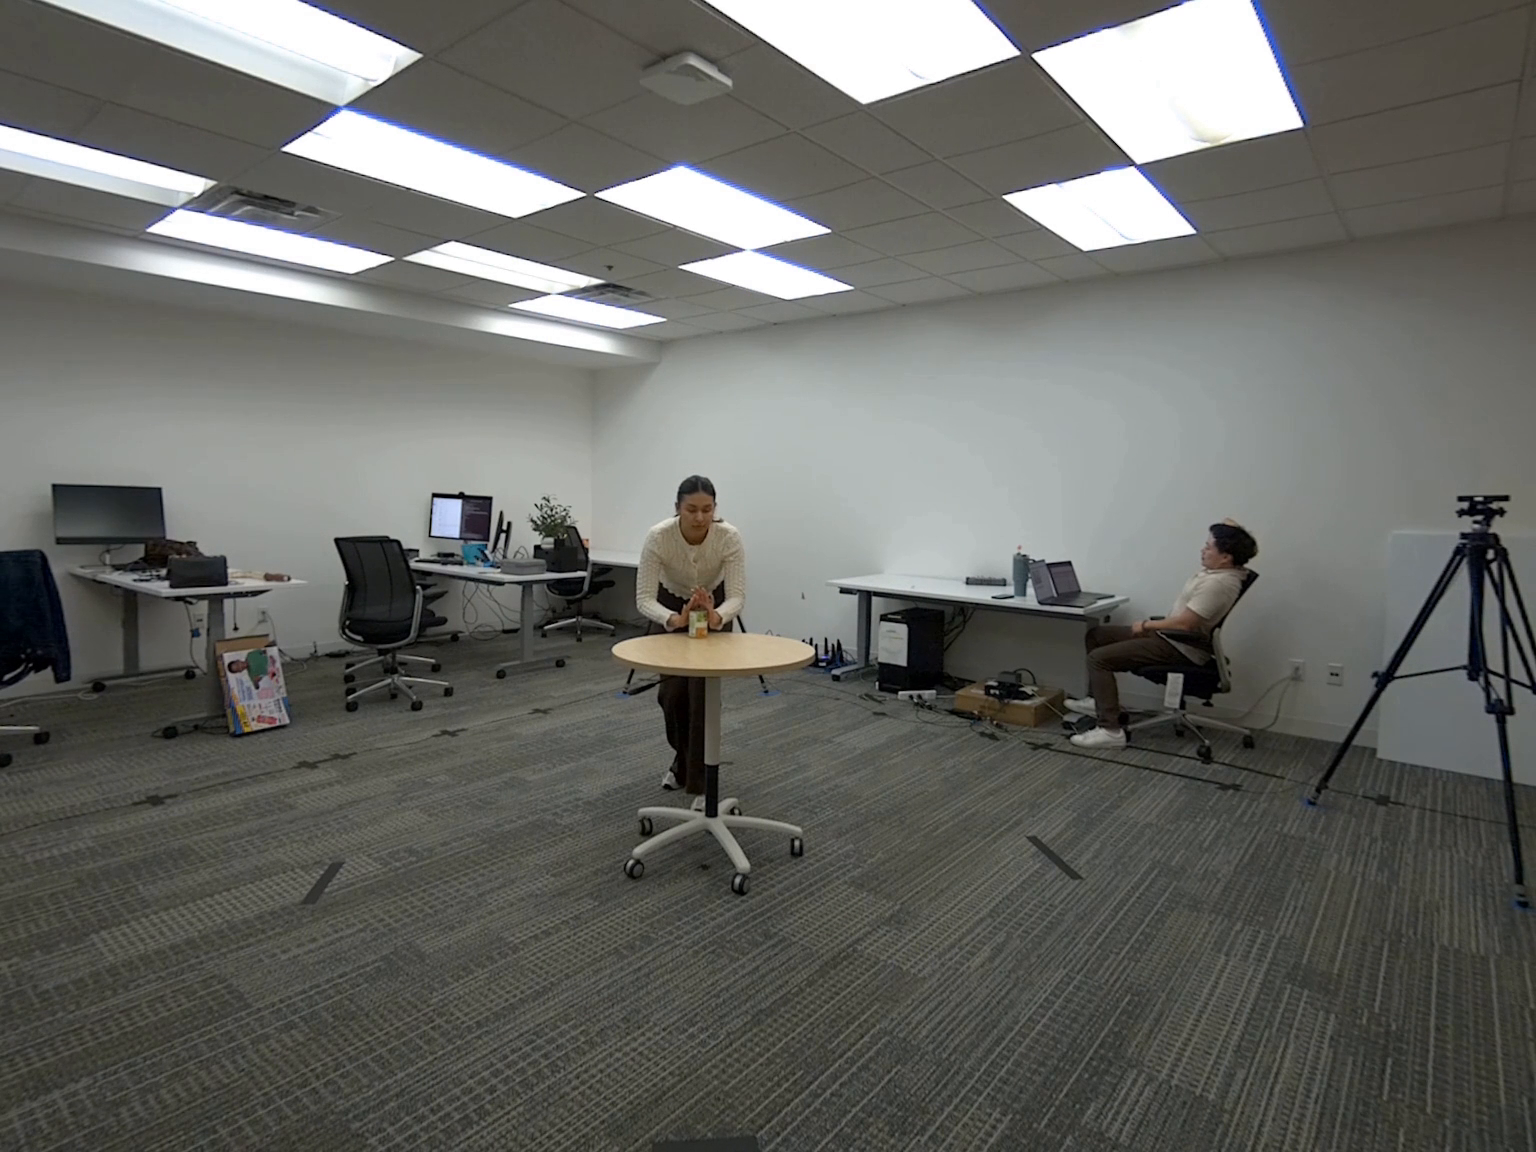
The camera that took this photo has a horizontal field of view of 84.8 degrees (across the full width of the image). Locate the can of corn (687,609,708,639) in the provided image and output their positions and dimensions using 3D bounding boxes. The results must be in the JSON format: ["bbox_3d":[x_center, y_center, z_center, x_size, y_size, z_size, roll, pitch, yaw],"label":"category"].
[{"bbox_3d":[-0.300,0.190,3.472,0.074,0.111,0.074,1,3,-2],"label":"can of corn"}]
